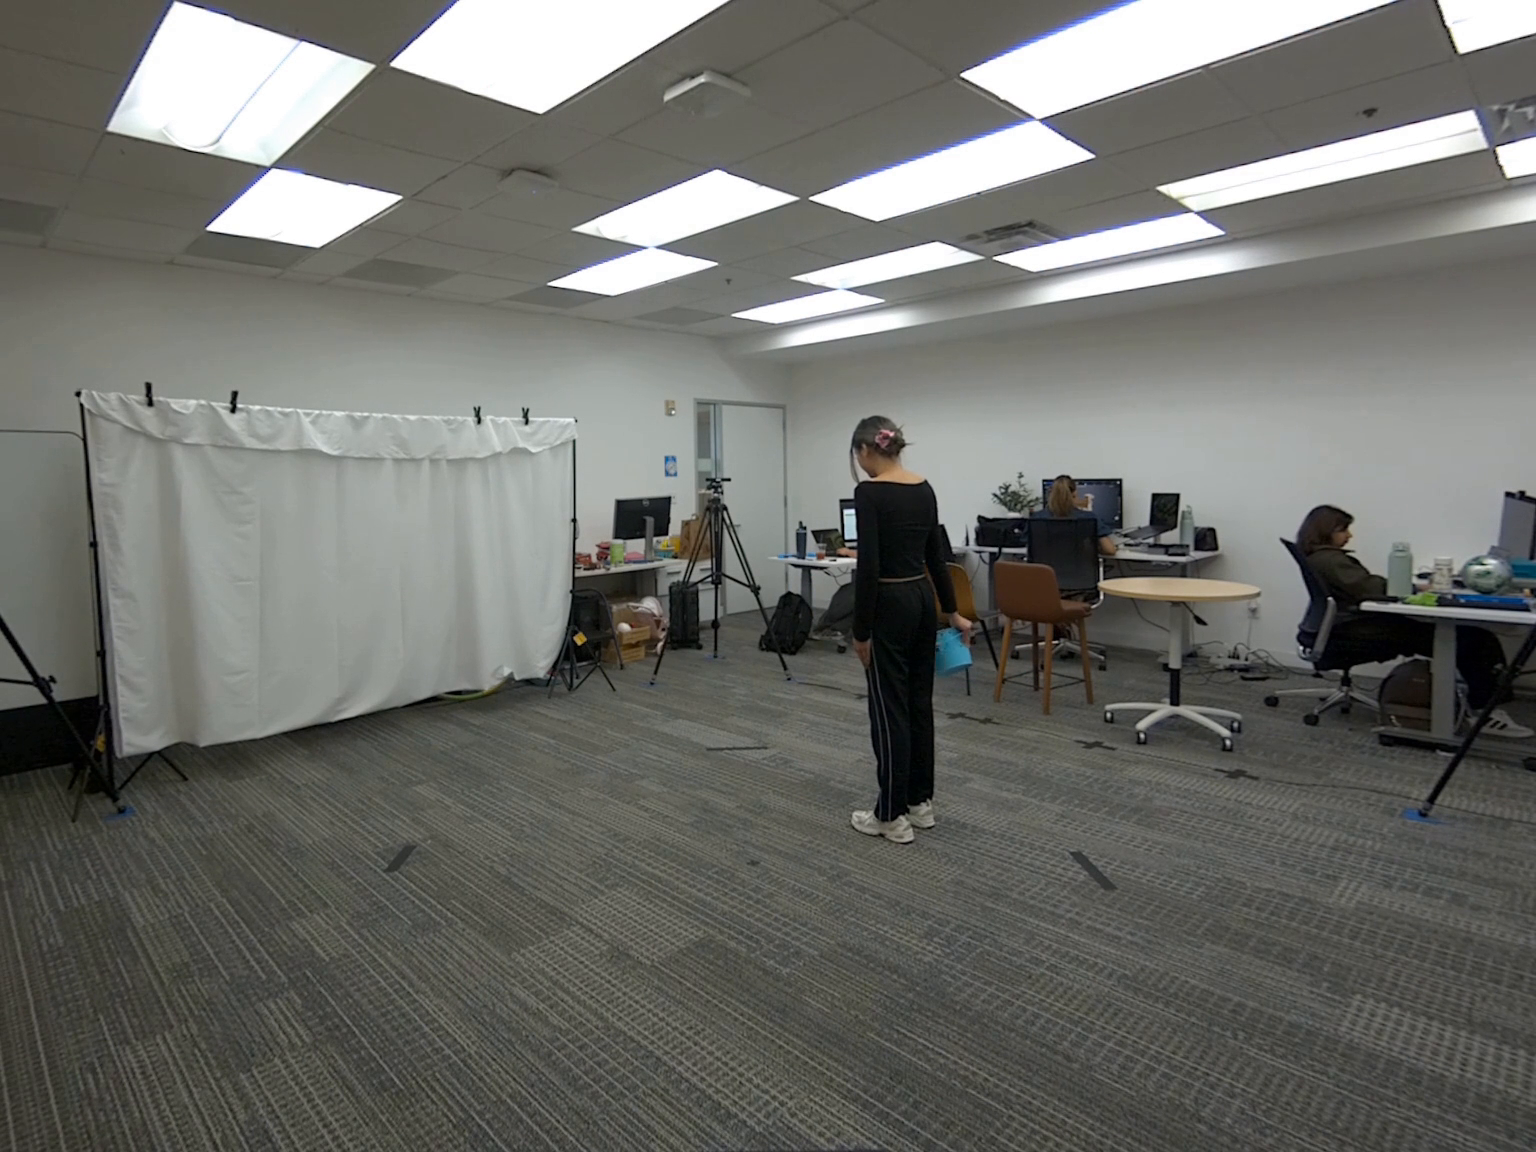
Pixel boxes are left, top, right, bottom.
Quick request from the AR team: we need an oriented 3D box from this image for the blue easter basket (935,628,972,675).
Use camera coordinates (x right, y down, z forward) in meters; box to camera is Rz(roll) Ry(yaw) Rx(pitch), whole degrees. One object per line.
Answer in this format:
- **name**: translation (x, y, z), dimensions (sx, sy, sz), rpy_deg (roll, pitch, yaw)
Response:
- **blue easter basket**: translation (0.745, 0.325, 3.596), dimensions (0.242, 0.159, 0.239), rpy_deg (-11, -19, -6)
